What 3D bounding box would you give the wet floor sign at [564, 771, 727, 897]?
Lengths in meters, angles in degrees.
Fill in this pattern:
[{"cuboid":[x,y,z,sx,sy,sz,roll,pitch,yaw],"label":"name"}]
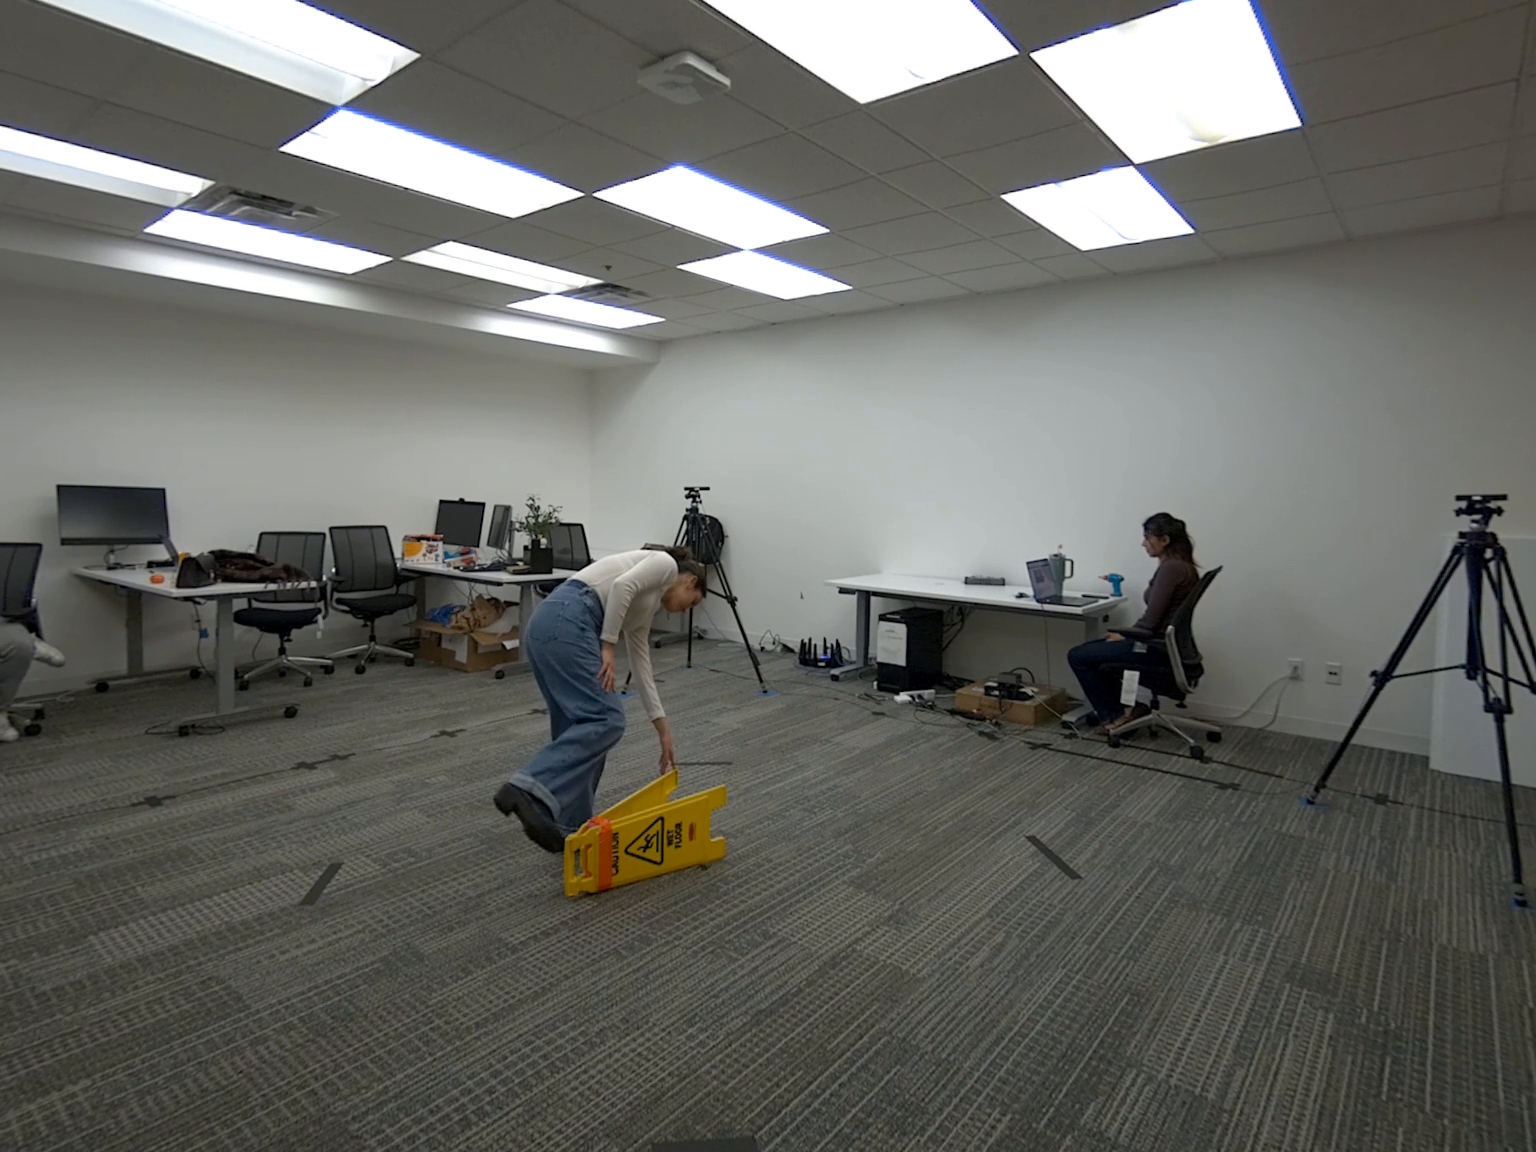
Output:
[{"cuboid":[-0.472,0.938,3.053,0.299,0.281,0.628,4,7,41],"label":"wet floor sign"}]
